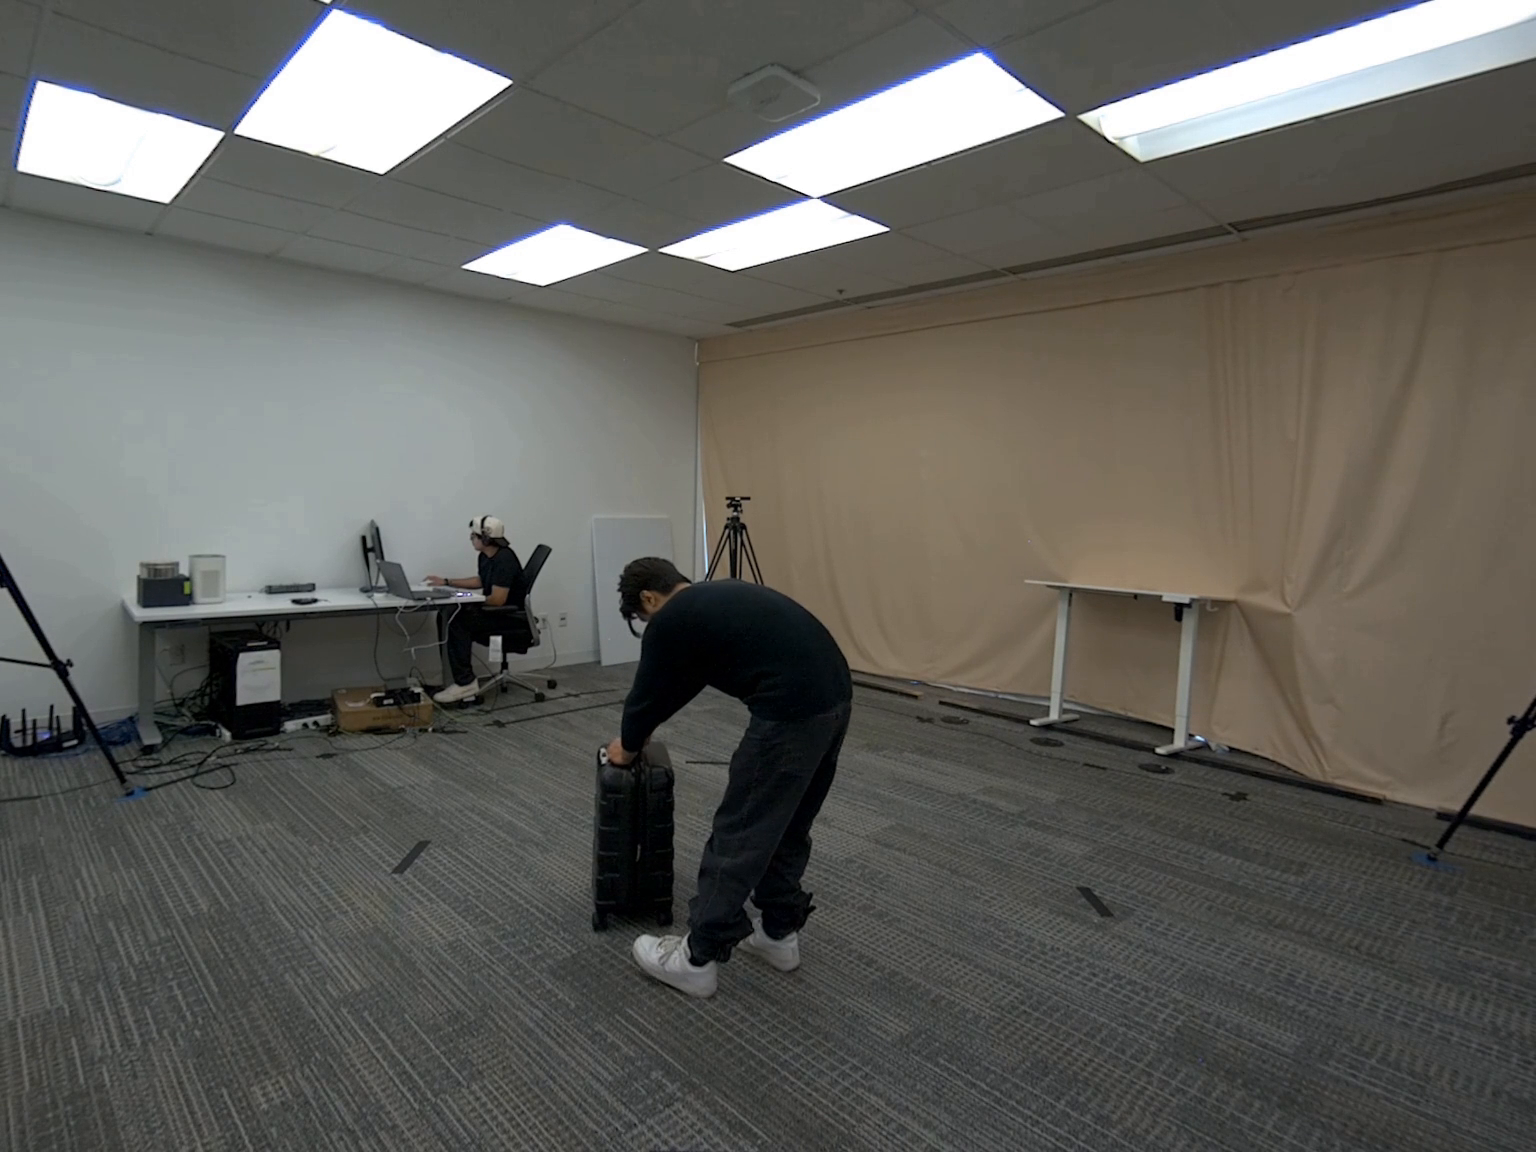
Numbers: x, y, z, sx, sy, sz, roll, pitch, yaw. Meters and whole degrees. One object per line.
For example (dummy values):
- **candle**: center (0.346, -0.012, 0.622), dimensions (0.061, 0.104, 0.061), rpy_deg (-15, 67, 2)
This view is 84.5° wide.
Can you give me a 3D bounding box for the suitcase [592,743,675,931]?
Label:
- **suitcase**: center (-0.465, 0.850, 2.834), dimensions (0.246, 0.548, 0.380), rpy_deg (1, 5, -12)
